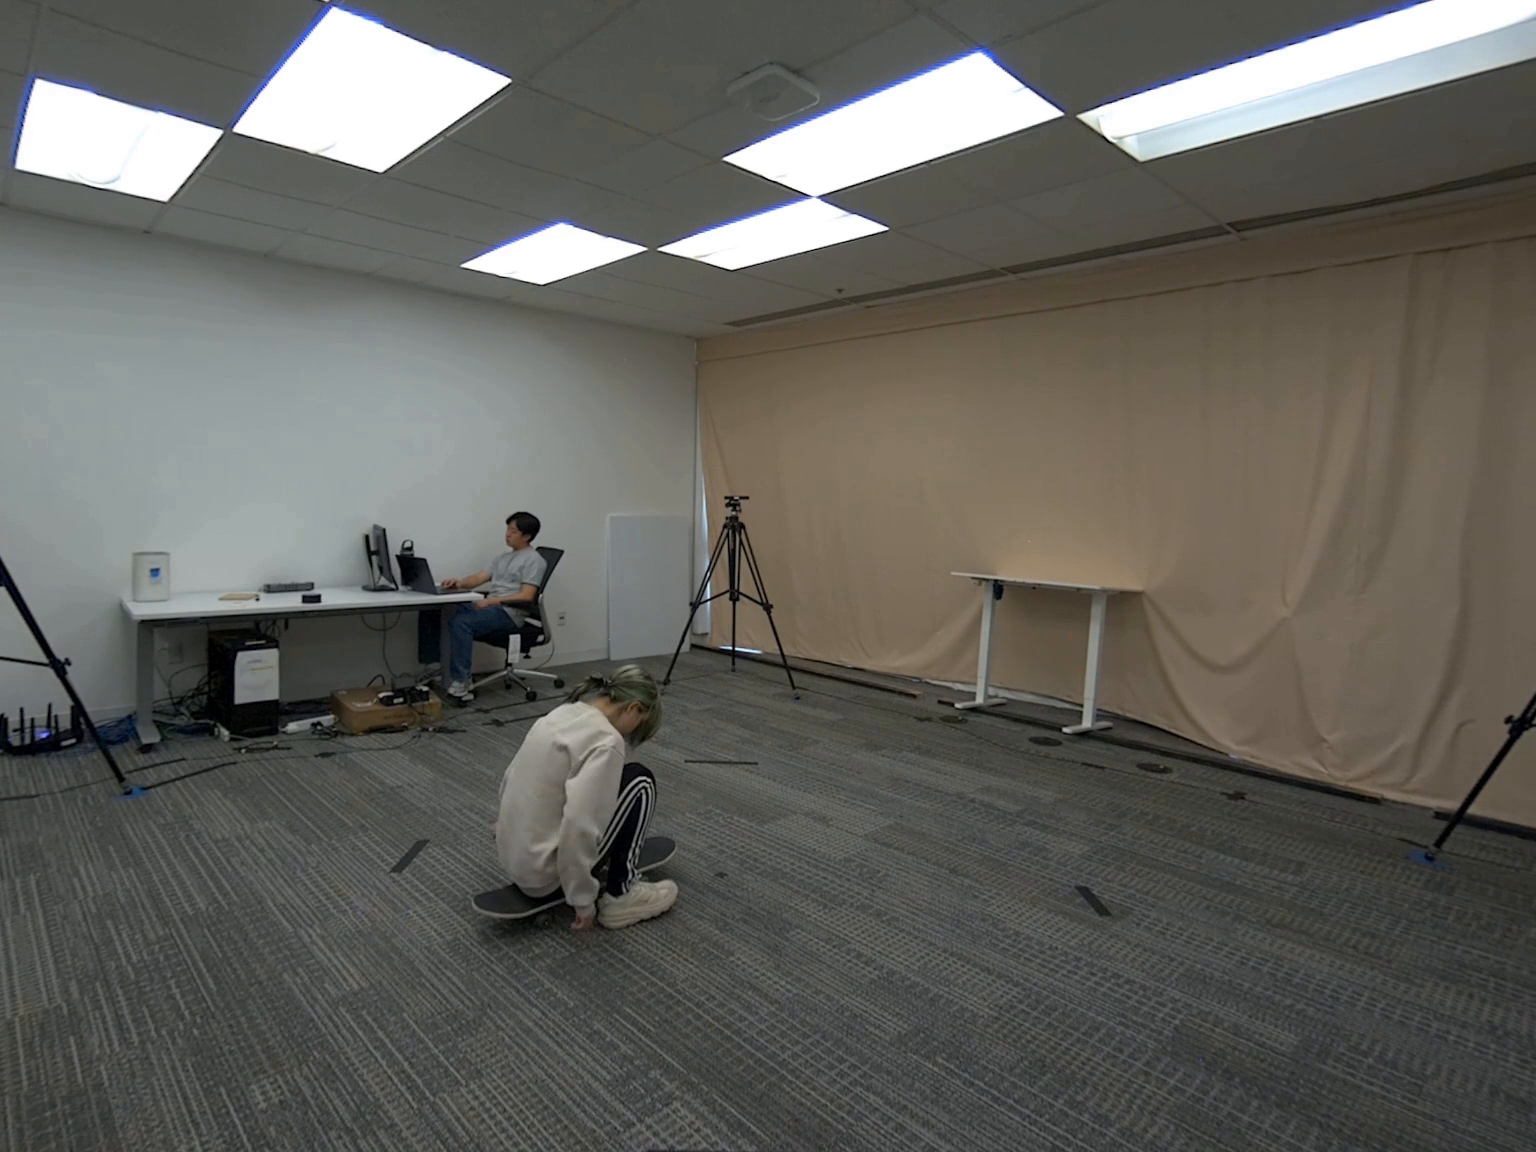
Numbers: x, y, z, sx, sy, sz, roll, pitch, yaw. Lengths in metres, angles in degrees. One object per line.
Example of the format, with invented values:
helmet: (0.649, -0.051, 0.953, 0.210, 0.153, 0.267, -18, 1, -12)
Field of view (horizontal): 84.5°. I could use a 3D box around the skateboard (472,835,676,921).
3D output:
skateboard: (-0.645, 1.061, 2.889, 0.199, 0.110, 0.768, 9, 10, 43)
